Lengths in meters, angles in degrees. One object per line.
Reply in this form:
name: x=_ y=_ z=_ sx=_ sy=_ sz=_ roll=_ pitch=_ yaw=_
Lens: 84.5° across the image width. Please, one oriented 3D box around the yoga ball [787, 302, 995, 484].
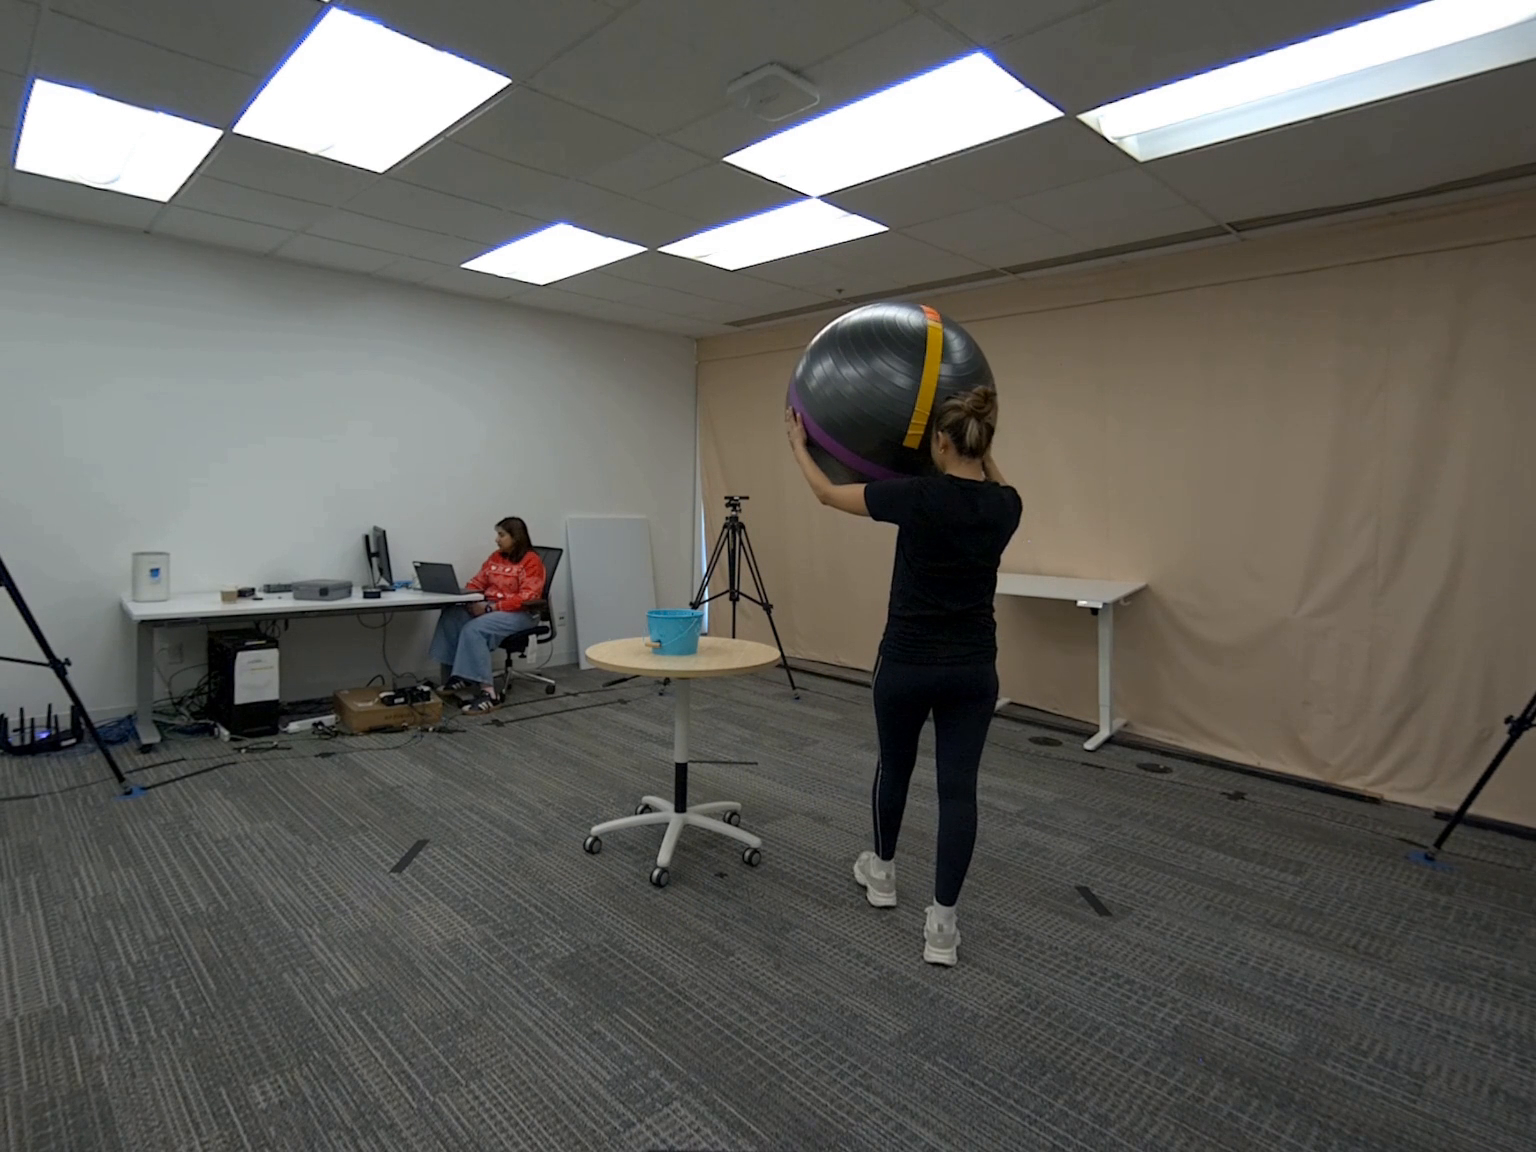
yoga ball: x=0.437 y=-0.599 z=3.069 sx=0.757 sy=0.756 sz=0.761 roll=1 pitch=4 yaw=-1
